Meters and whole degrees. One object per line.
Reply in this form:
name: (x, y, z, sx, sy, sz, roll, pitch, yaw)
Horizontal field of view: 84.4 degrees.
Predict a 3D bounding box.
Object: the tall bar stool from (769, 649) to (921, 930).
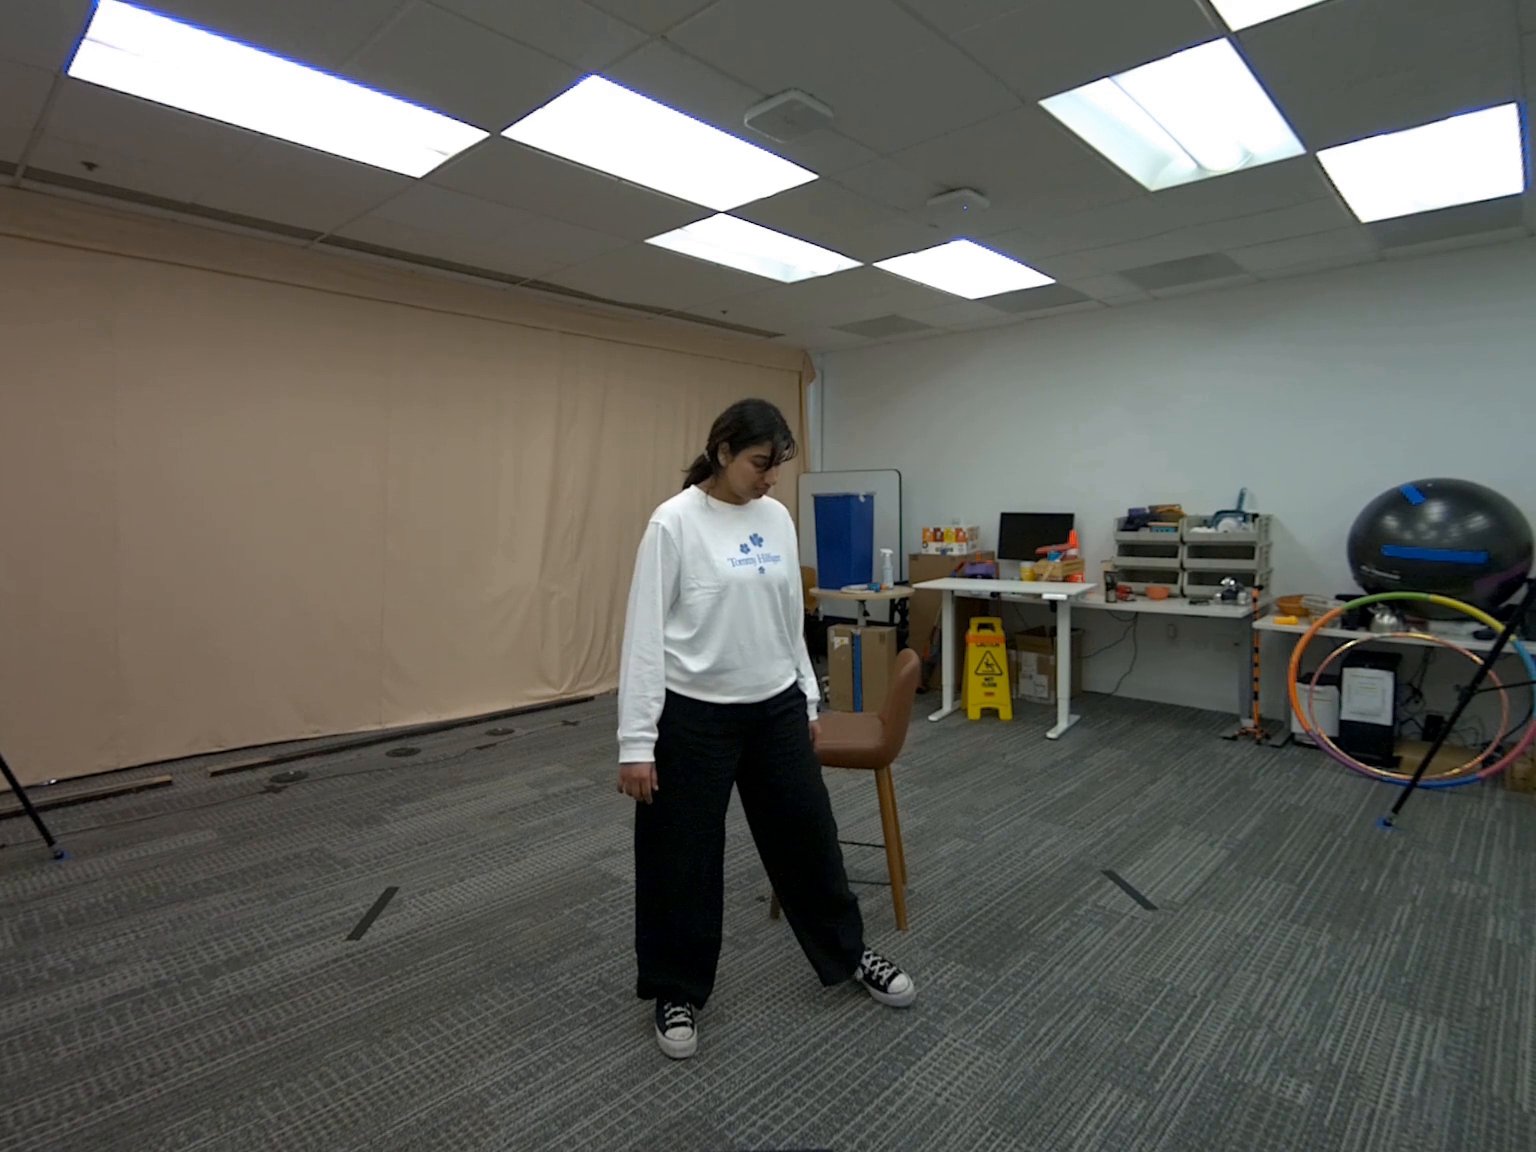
tall bar stool: (0.276, 0.712, 2.960, 0.474, 0.888, 0.451, 3, 3, 12)
